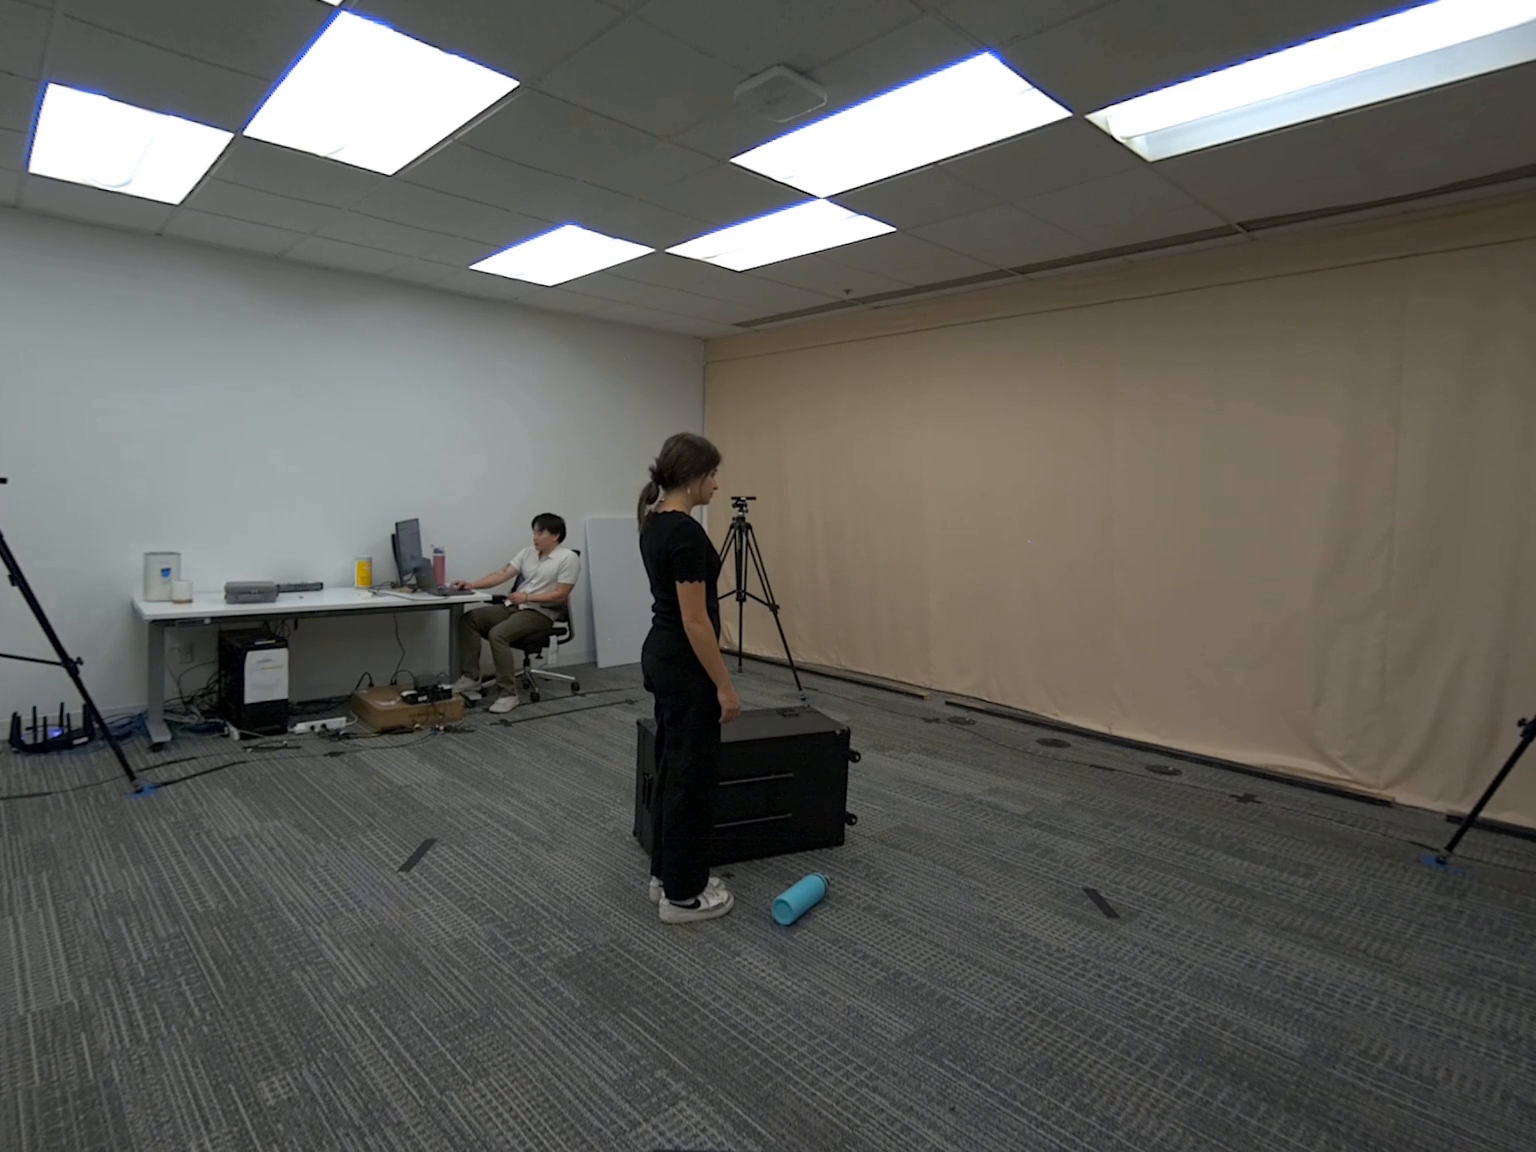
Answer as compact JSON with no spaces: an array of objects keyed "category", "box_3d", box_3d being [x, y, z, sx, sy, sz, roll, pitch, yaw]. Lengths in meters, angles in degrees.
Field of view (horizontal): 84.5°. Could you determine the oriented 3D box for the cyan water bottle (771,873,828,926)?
[{"category":"cyan water bottle","box_3d":[0.098,1.084,2.858,0.094,0.092,0.278,4,7,30]}]
